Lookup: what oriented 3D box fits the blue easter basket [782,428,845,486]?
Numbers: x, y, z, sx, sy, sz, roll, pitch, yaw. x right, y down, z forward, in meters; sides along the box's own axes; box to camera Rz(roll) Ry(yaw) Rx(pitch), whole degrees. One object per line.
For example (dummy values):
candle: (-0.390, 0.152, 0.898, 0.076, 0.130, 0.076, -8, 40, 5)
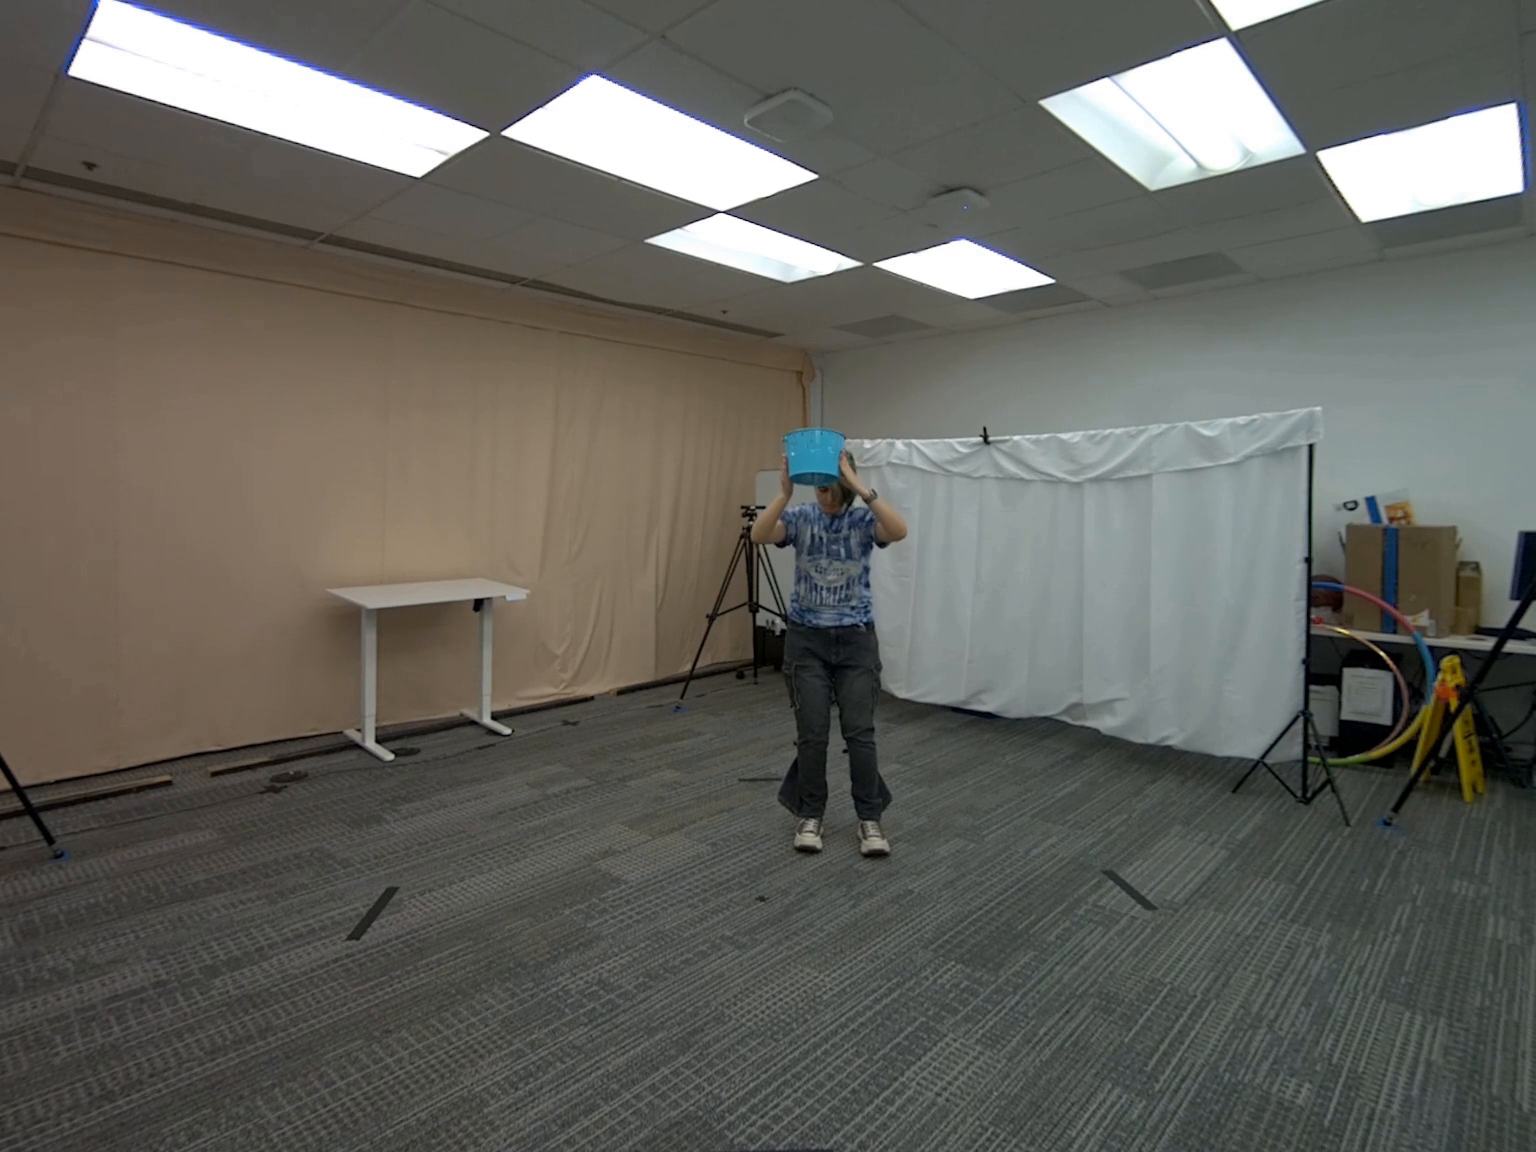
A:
blue easter basket: (0.174, -0.424, 3.055, 0.243, 0.157, 0.242, 2, -10, -2)
